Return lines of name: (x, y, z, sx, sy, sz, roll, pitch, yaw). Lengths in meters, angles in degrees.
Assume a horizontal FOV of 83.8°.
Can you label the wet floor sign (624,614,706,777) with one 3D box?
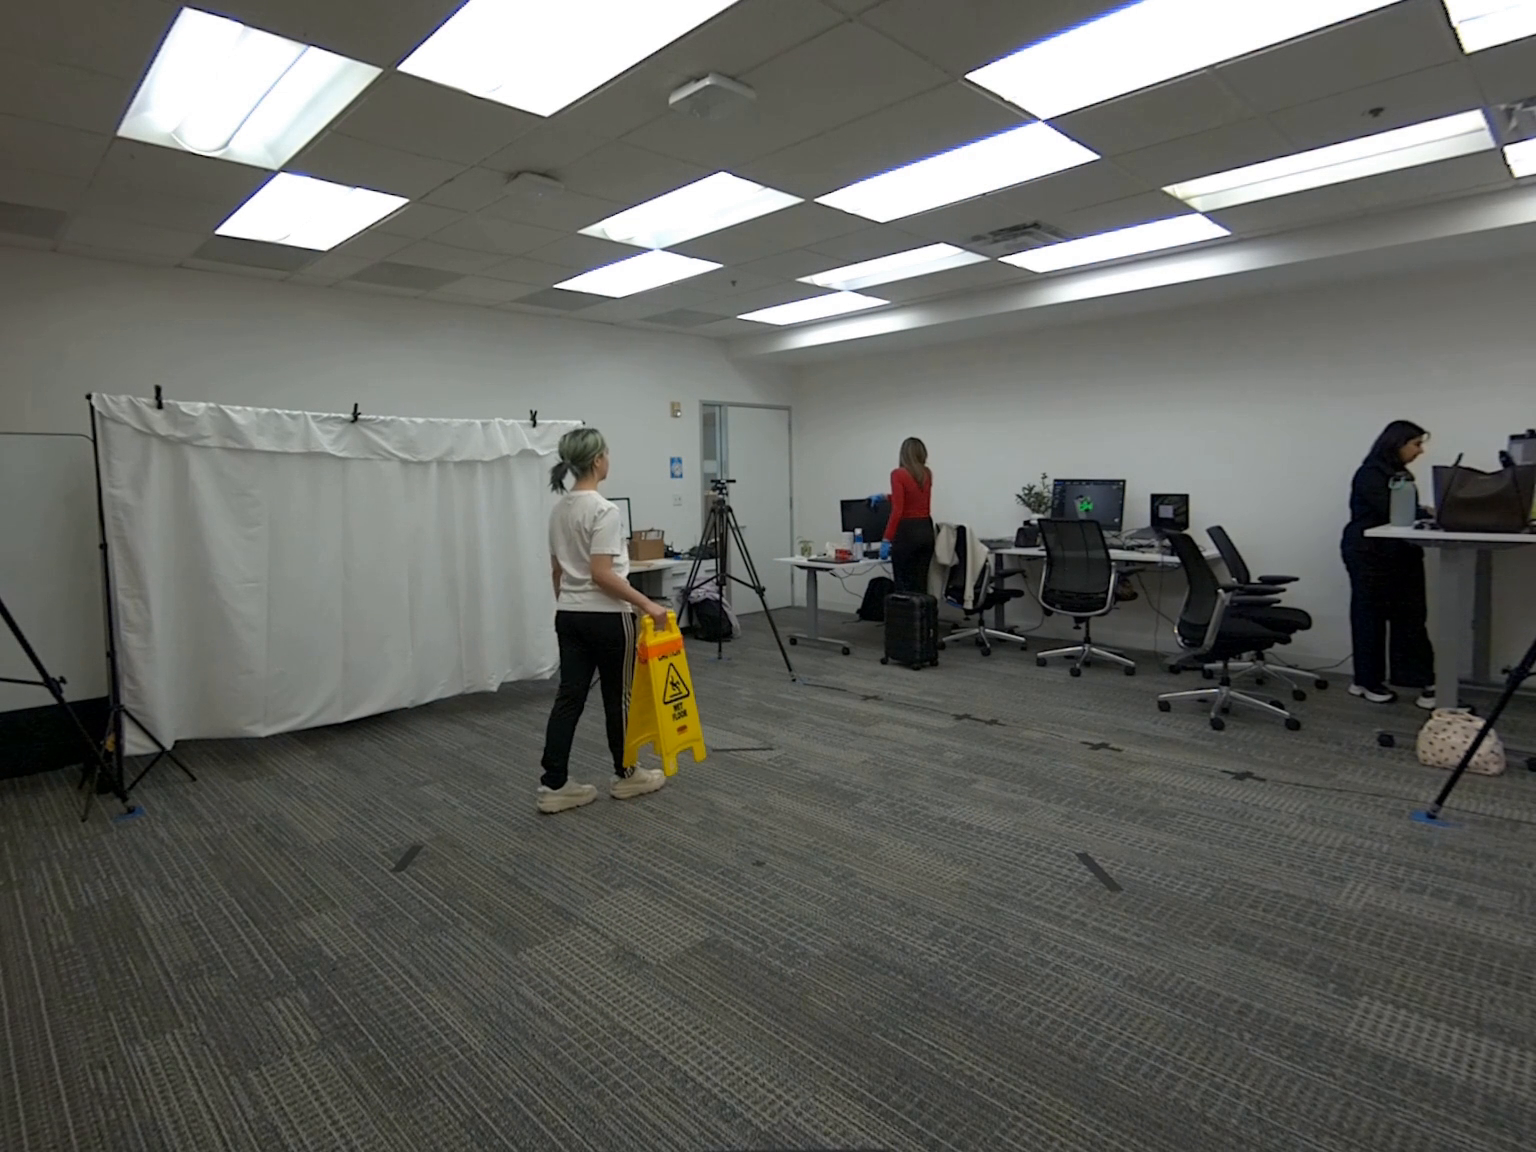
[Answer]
wet floor sign: (-0.449, 0.479, 3.646, 0.298, 0.642, 0.276, 3, 7, 34)
